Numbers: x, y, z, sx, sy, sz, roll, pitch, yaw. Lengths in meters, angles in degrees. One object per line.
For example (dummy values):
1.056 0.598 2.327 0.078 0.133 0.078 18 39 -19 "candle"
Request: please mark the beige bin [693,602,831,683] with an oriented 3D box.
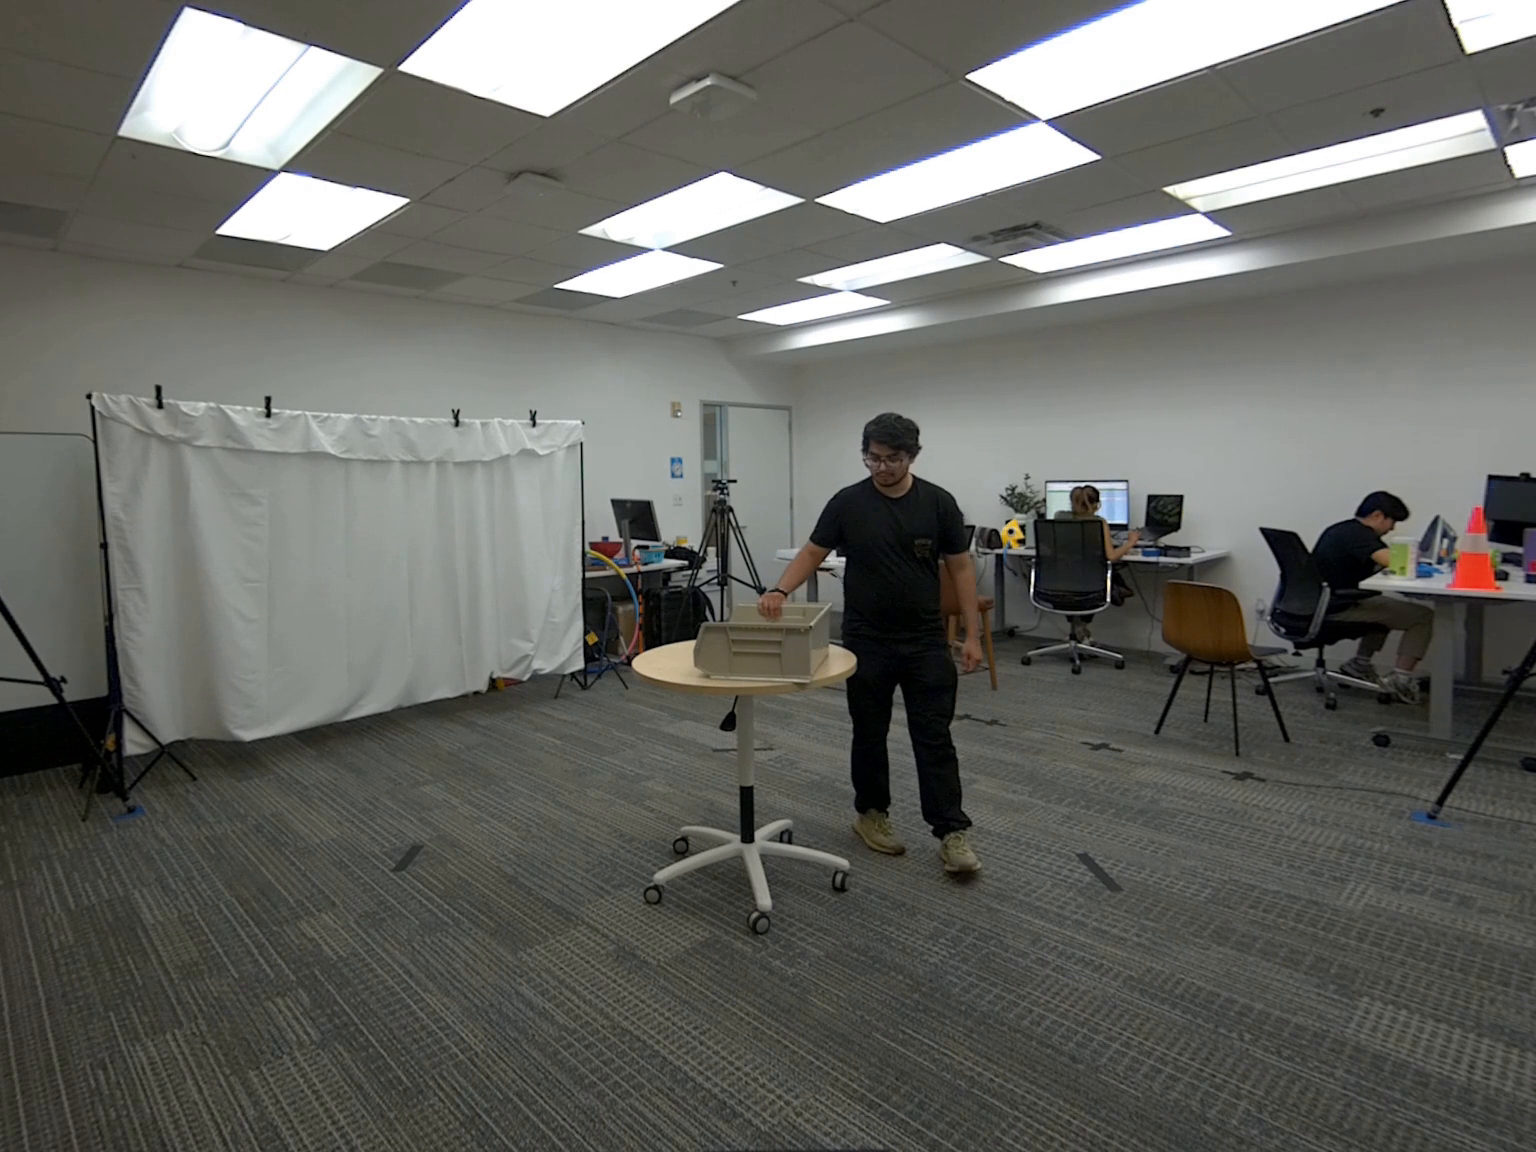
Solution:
-0.010 0.212 2.805 0.383 0.188 0.418 1 7 14 "beige bin"
